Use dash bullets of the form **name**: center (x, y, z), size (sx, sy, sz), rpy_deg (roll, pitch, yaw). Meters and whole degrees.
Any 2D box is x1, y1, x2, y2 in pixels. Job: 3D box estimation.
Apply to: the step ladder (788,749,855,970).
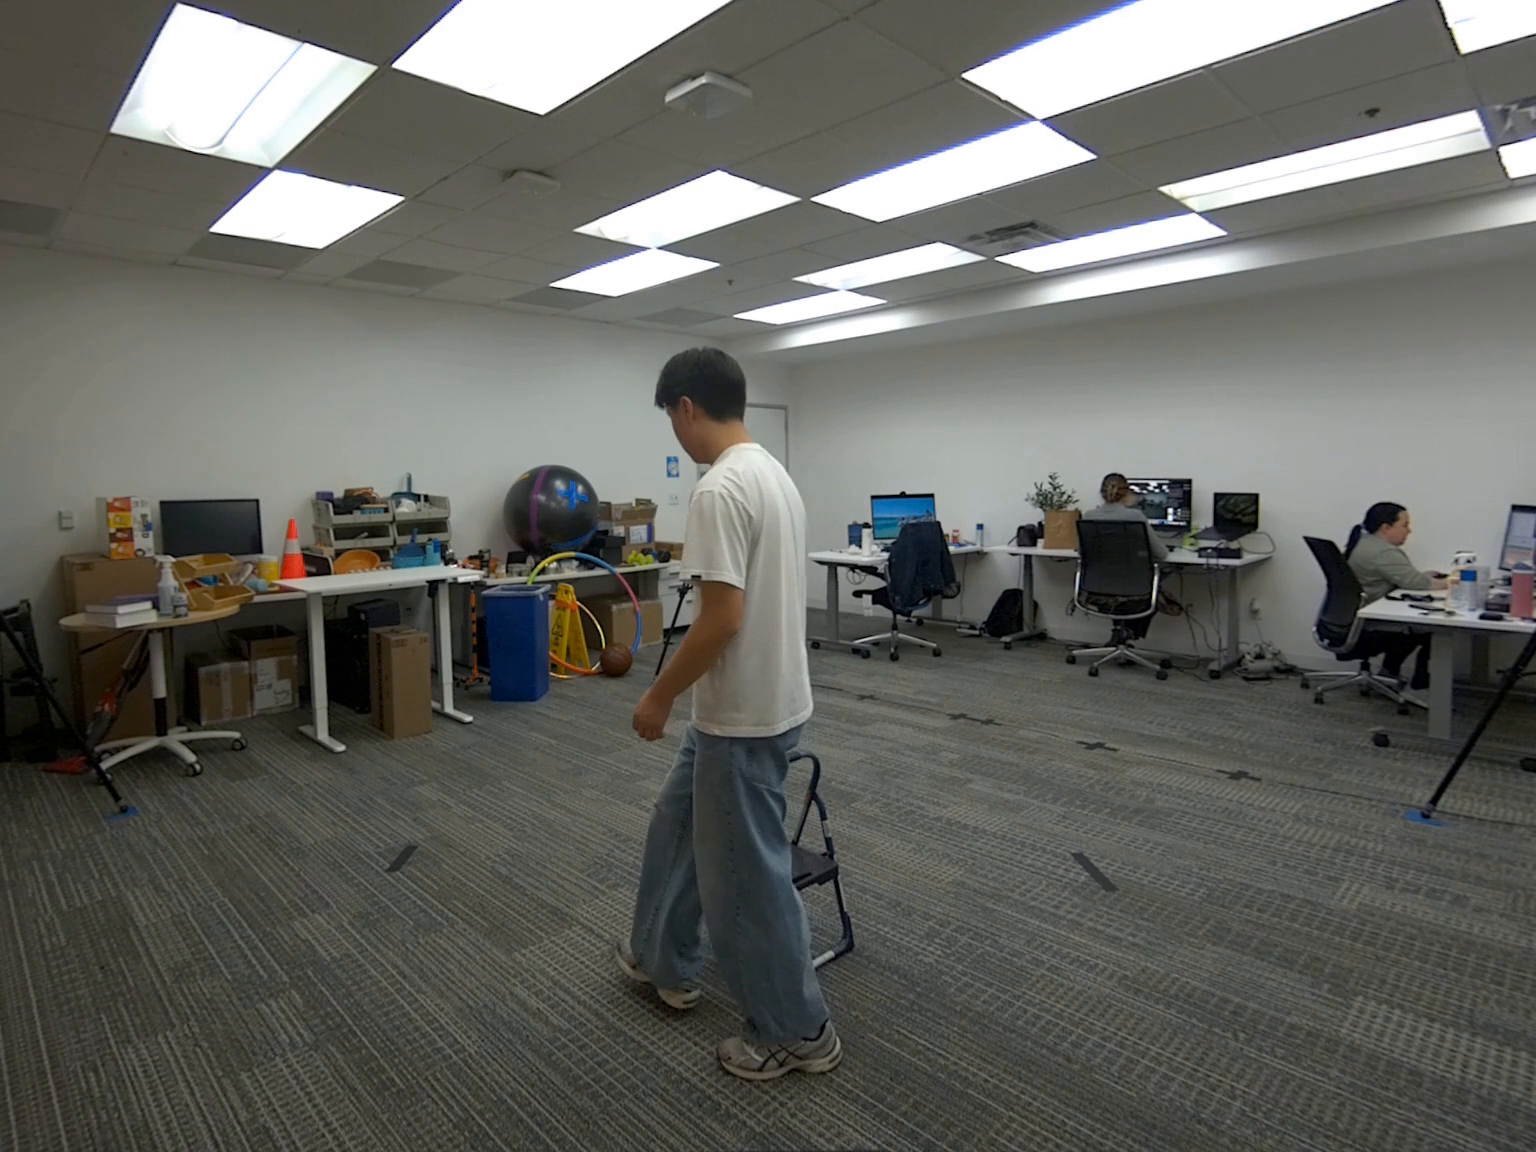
- **step ladder**: center (-0.003, 0.812, 2.503), size (0.419, 0.603, 0.360), rpy_deg (-6, 7, -45)
